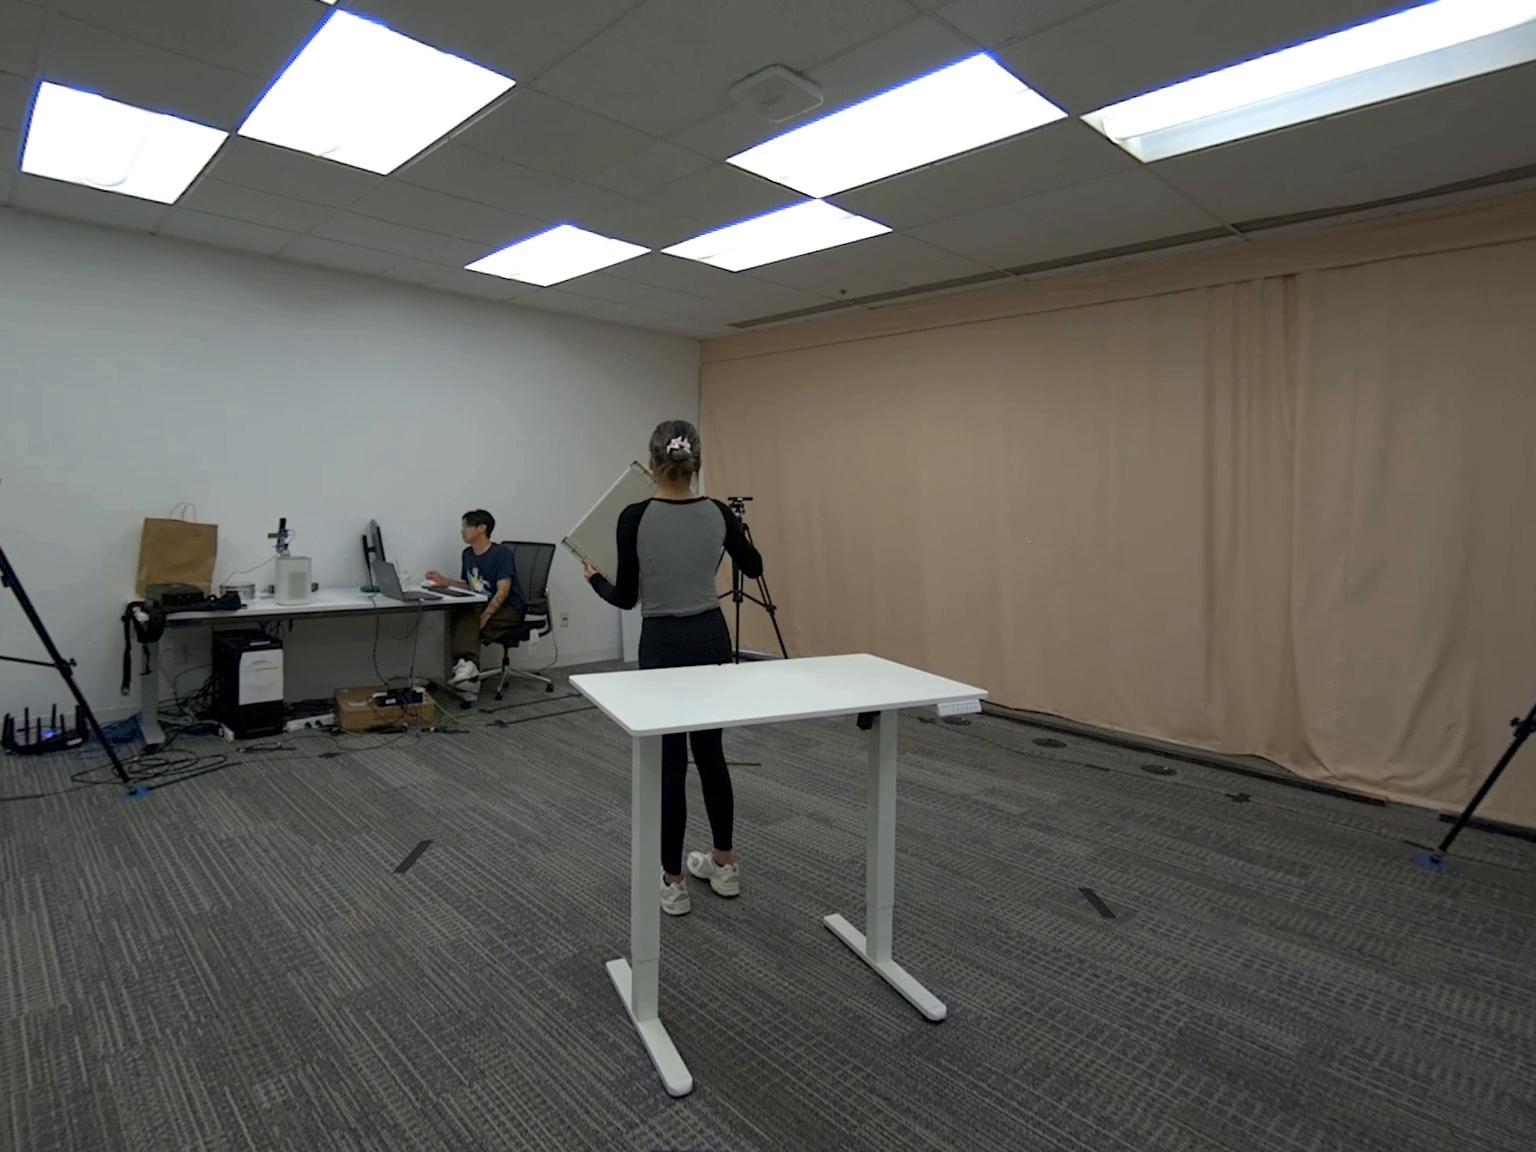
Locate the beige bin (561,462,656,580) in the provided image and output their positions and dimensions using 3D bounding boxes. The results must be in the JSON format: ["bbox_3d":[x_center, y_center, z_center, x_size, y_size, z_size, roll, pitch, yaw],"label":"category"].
[{"bbox_3d":[-0.492,-0.154,3.155,0.379,0.422,0.188,43,0,3],"label":"beige bin"}]
